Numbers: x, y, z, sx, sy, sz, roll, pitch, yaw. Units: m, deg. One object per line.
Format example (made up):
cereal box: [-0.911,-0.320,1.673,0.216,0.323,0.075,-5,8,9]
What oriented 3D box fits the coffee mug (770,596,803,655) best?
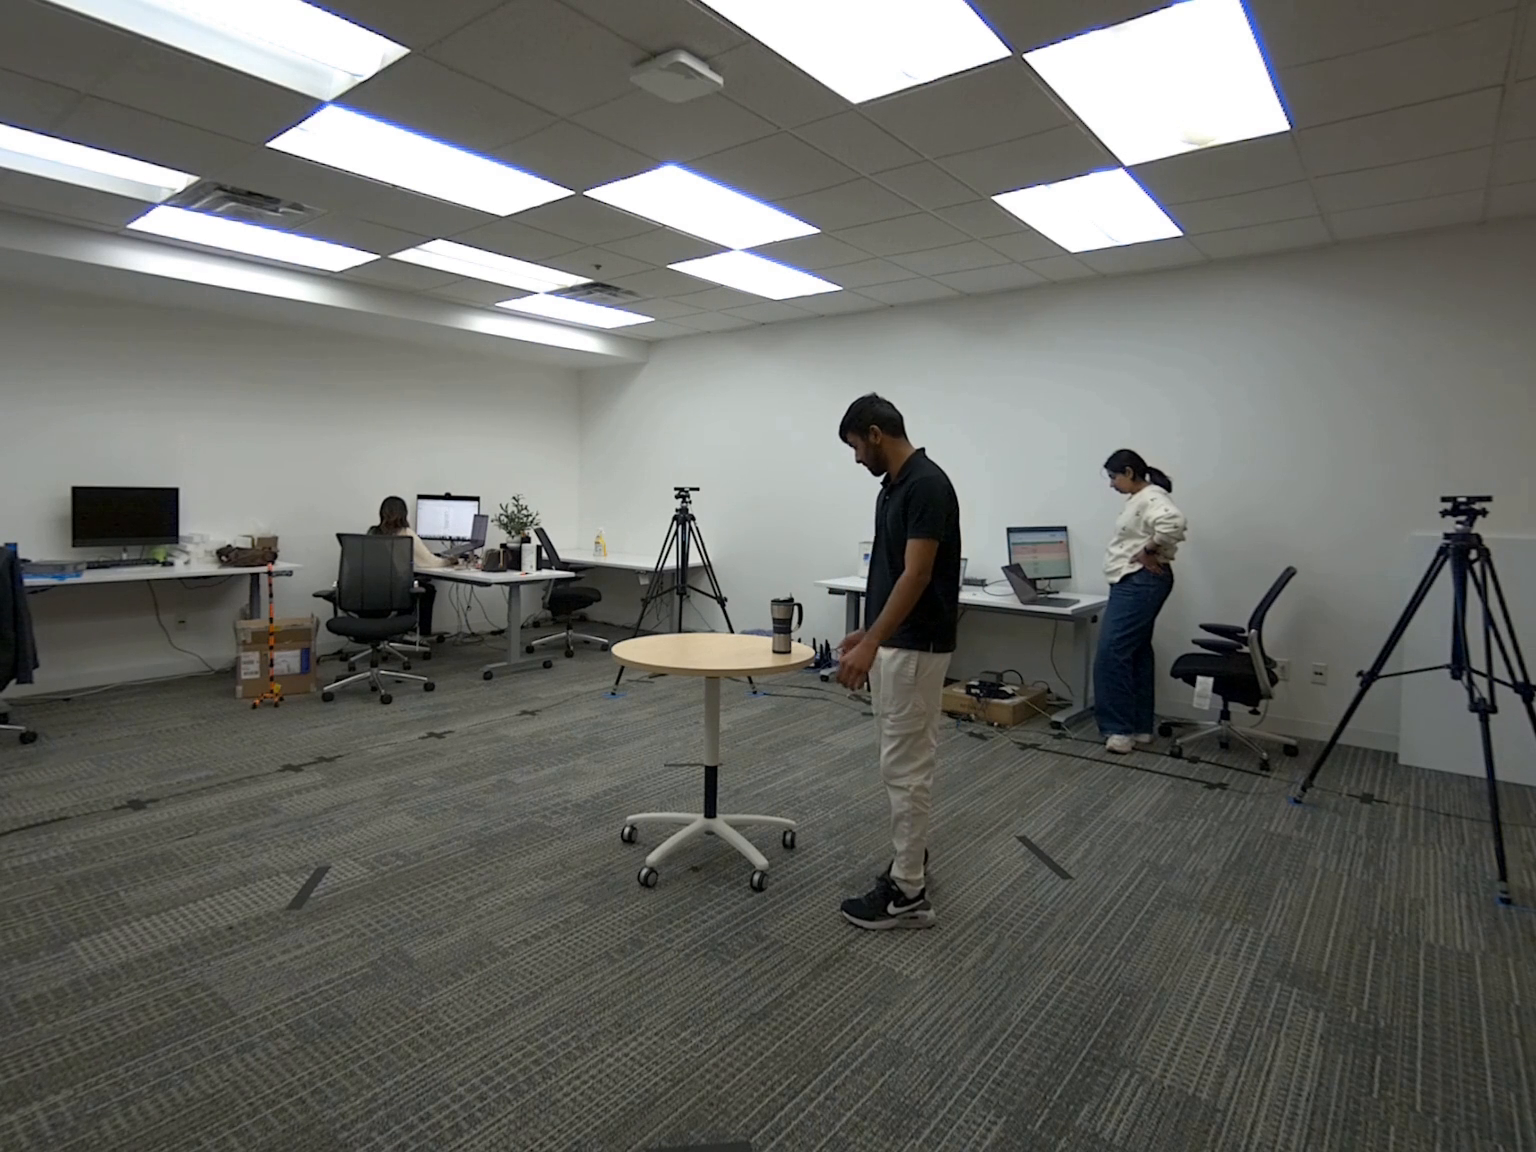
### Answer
coffee mug: [0.065,0.184,3.150,0.124,0.203,0.086,1,-1,14]
